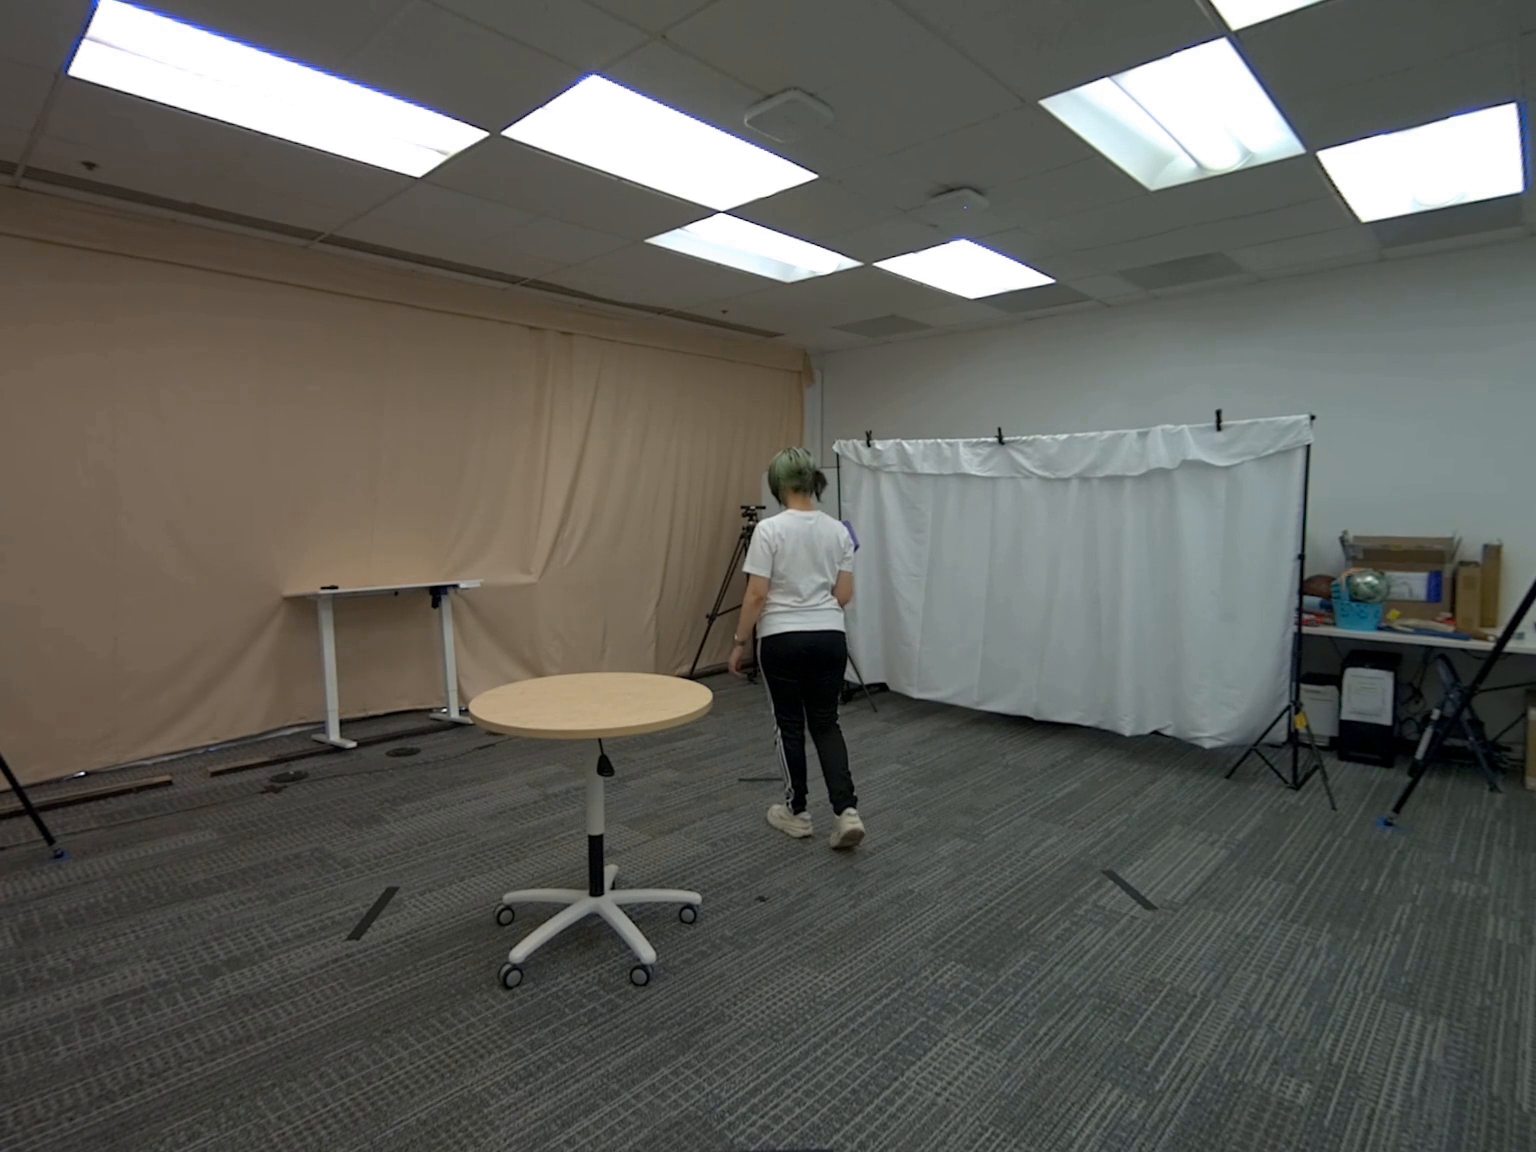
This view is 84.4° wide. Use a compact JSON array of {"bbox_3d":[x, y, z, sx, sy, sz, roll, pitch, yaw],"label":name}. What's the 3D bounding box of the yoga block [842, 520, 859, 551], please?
[{"bbox_3d":[0.305,-0.160,3.858,0.225,0.152,0.076,-14,-20,-22],"label":"yoga block"}]
